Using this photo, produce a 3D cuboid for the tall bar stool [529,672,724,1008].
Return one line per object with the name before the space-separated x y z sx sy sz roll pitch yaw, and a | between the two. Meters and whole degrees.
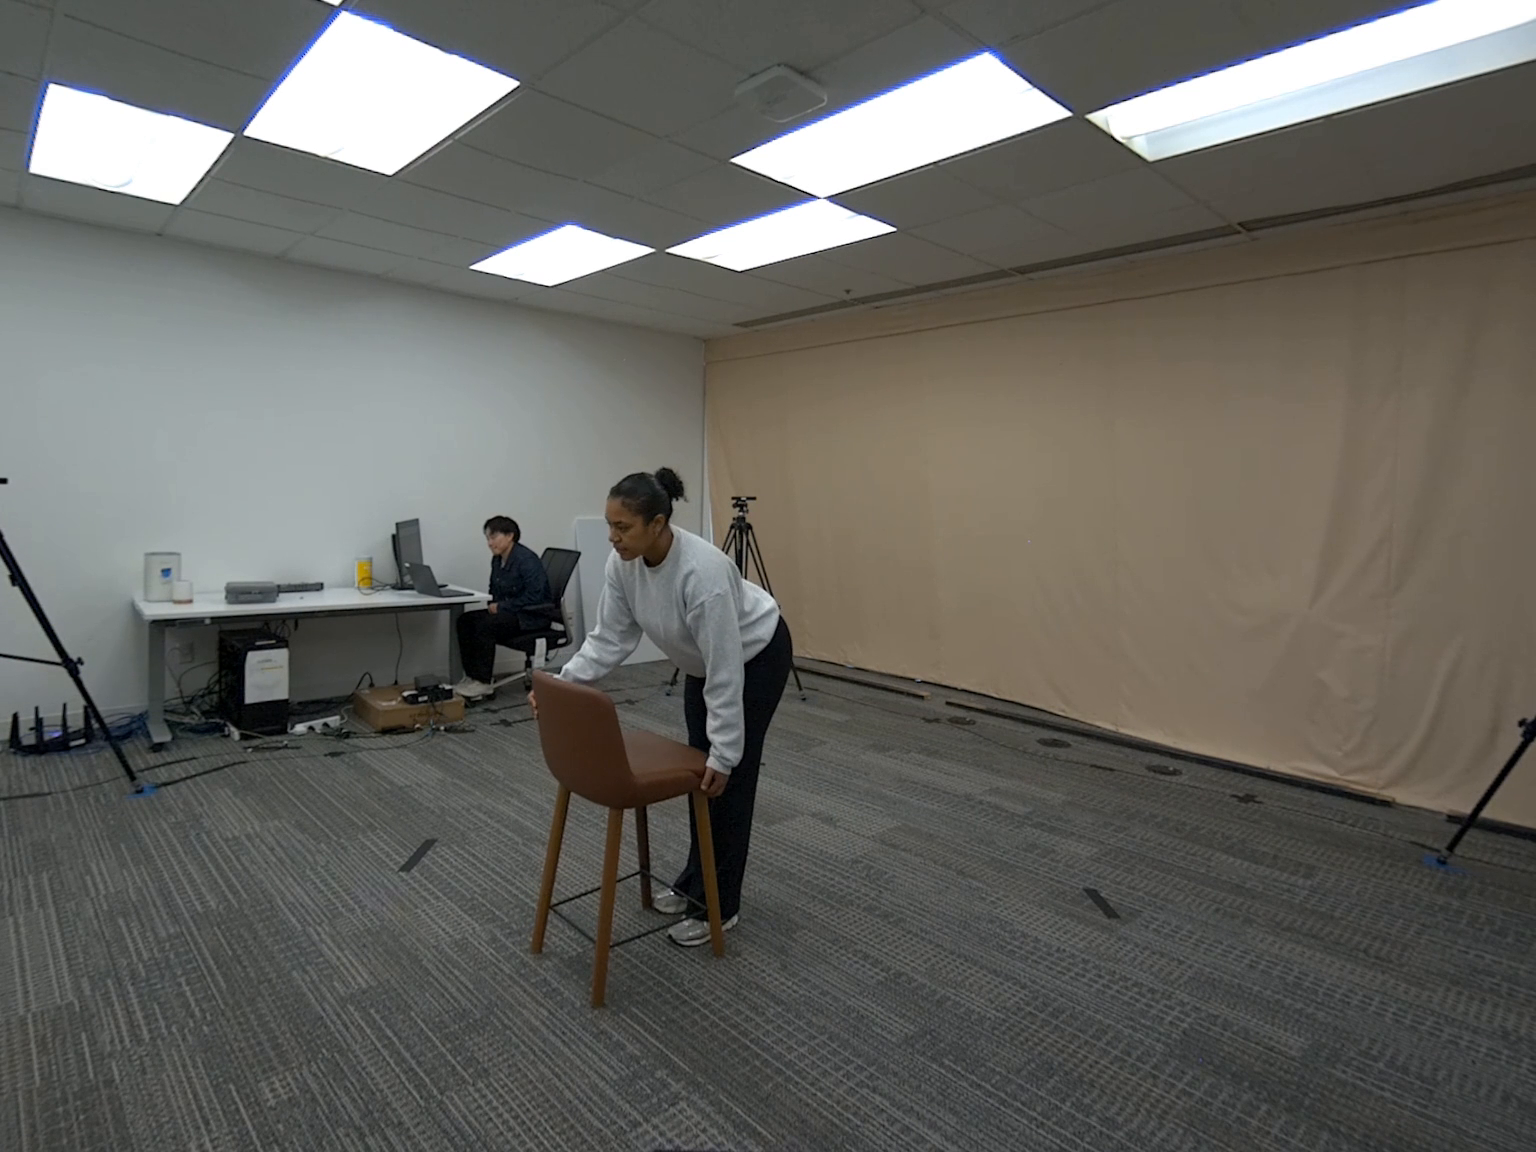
tall bar stool | -0.435 0.712 2.532 0.457 0.887 0.468 -4 6 -41
